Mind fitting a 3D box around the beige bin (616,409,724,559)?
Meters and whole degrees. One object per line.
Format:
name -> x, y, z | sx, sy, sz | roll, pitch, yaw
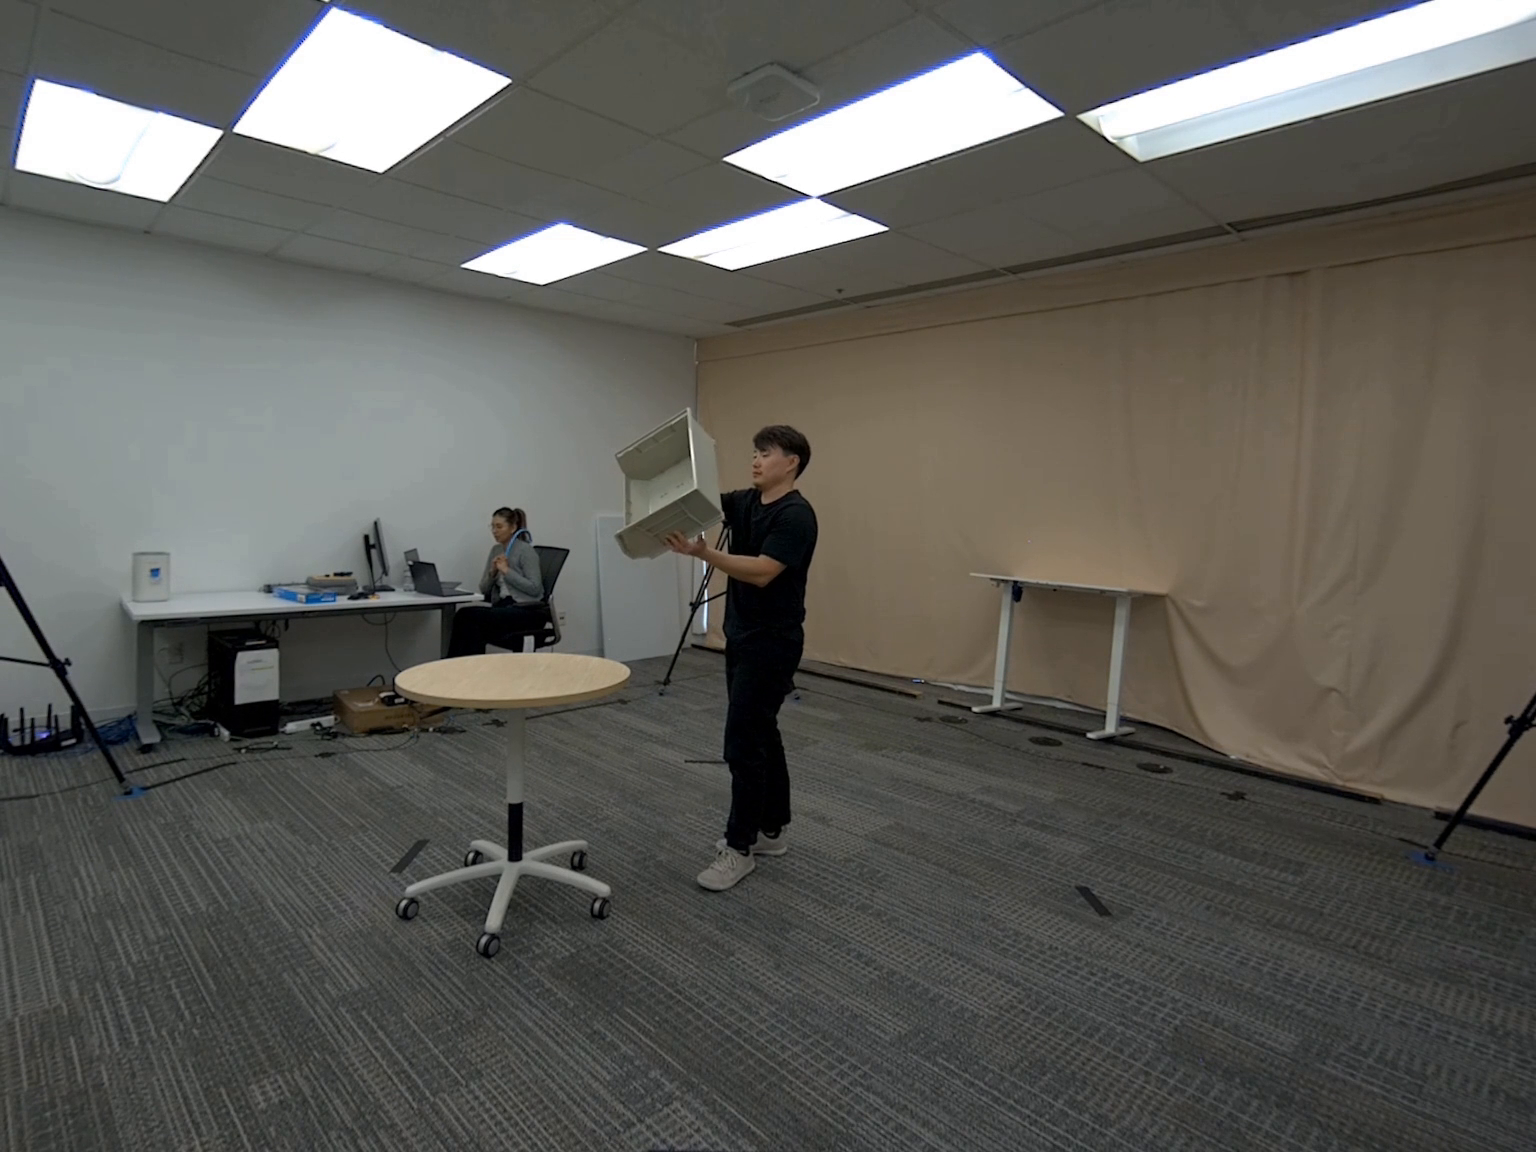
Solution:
beige bin -> -0.369, -0.310, 2.950 | 0.380, 0.433, 0.183 | -28, -46, 20
